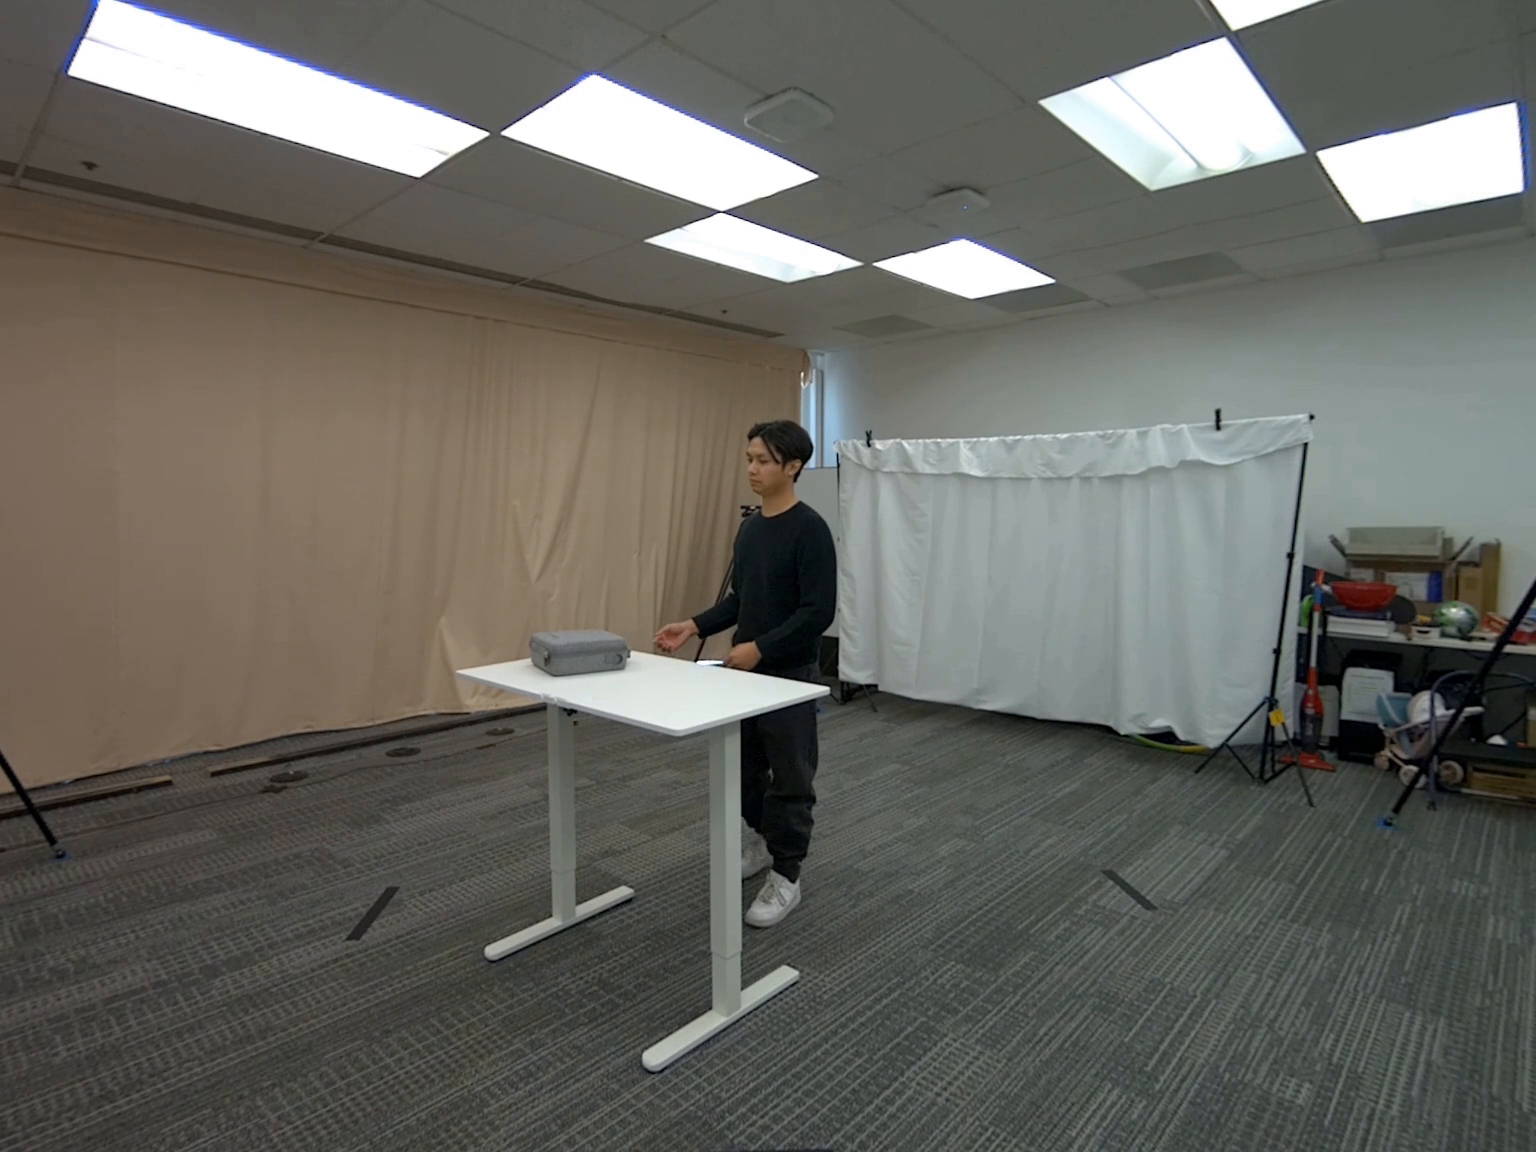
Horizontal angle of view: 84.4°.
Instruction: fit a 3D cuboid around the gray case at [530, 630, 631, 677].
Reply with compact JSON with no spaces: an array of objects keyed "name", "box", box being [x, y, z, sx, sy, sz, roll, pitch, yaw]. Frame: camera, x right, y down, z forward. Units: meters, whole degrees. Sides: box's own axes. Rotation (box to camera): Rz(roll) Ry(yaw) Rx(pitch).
[{"name":"gray case","box":[-0.602,0.238,2.676,0.253,0.104,0.264,-2,3,-31]}]
